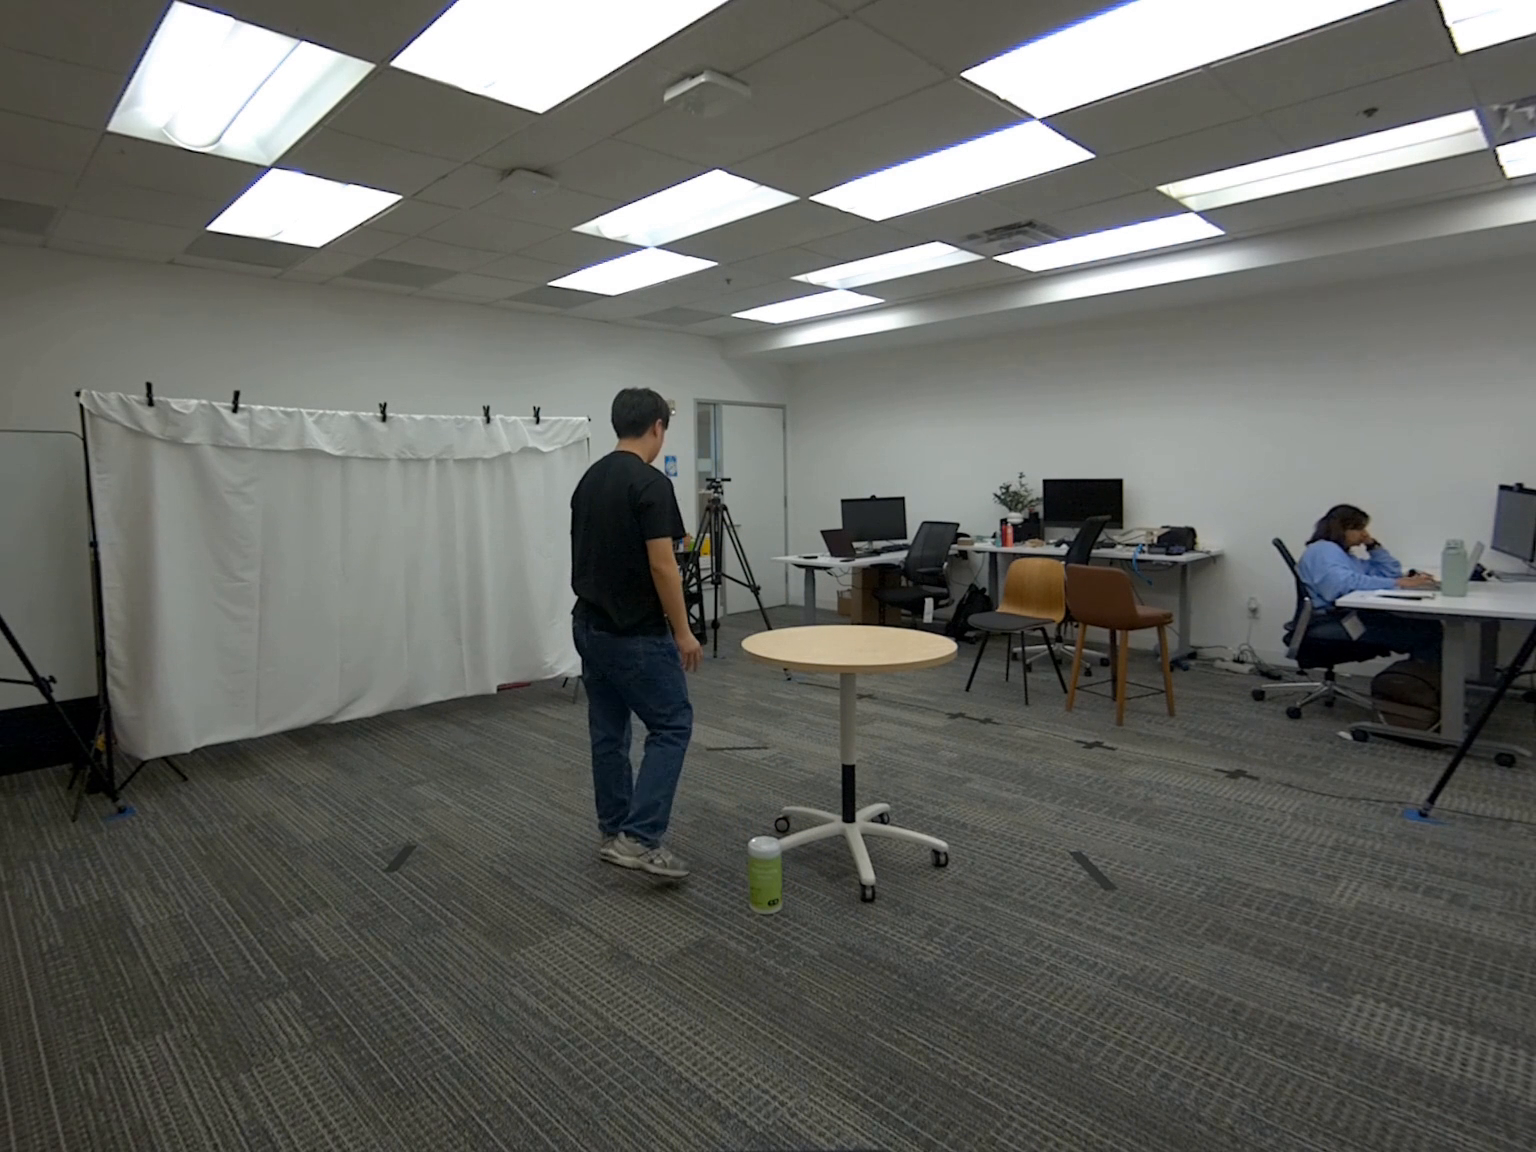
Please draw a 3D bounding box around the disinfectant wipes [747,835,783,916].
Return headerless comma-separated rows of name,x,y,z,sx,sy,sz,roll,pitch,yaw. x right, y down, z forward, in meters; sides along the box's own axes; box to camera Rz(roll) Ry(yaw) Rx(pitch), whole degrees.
disinfectant wipes,-0.006,0.976,2.770,0.118,0.216,0.118,0,5,-2
